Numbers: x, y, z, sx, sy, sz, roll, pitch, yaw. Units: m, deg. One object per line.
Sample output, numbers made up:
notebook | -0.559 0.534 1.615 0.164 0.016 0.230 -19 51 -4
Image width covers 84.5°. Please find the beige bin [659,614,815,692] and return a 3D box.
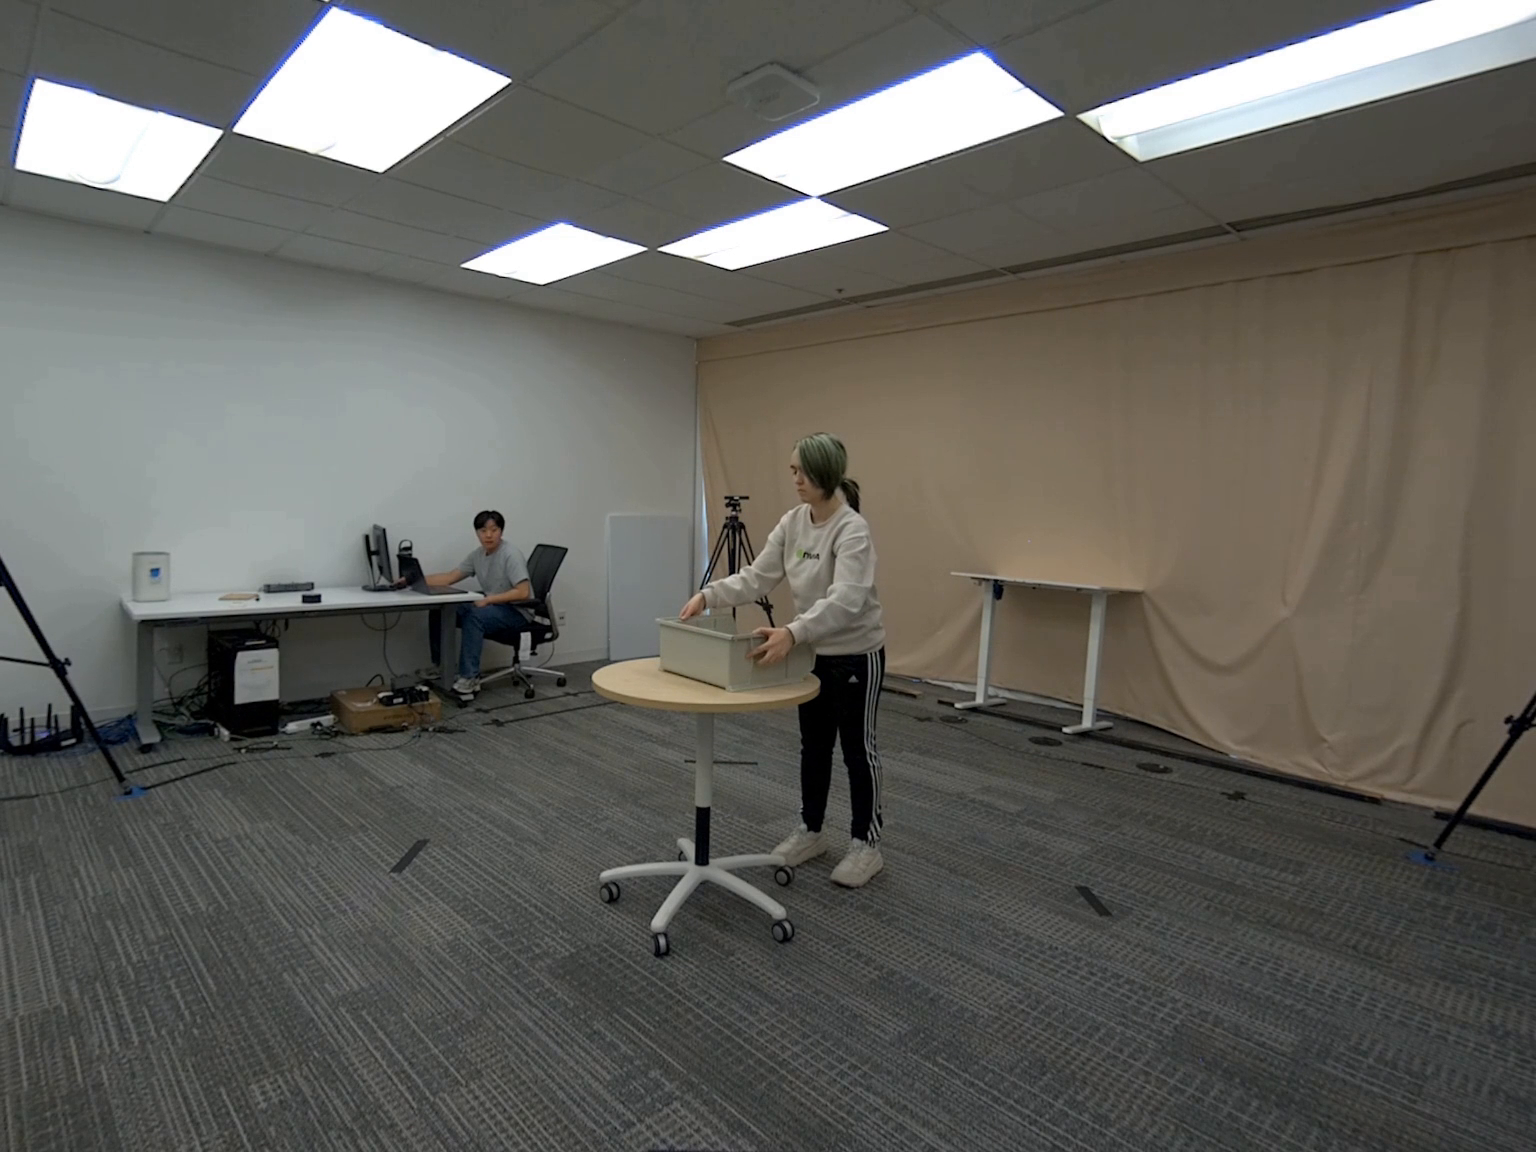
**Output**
beige bin | -0.119 0.251 2.882 0.369 0.188 0.433 -5 8 -40
